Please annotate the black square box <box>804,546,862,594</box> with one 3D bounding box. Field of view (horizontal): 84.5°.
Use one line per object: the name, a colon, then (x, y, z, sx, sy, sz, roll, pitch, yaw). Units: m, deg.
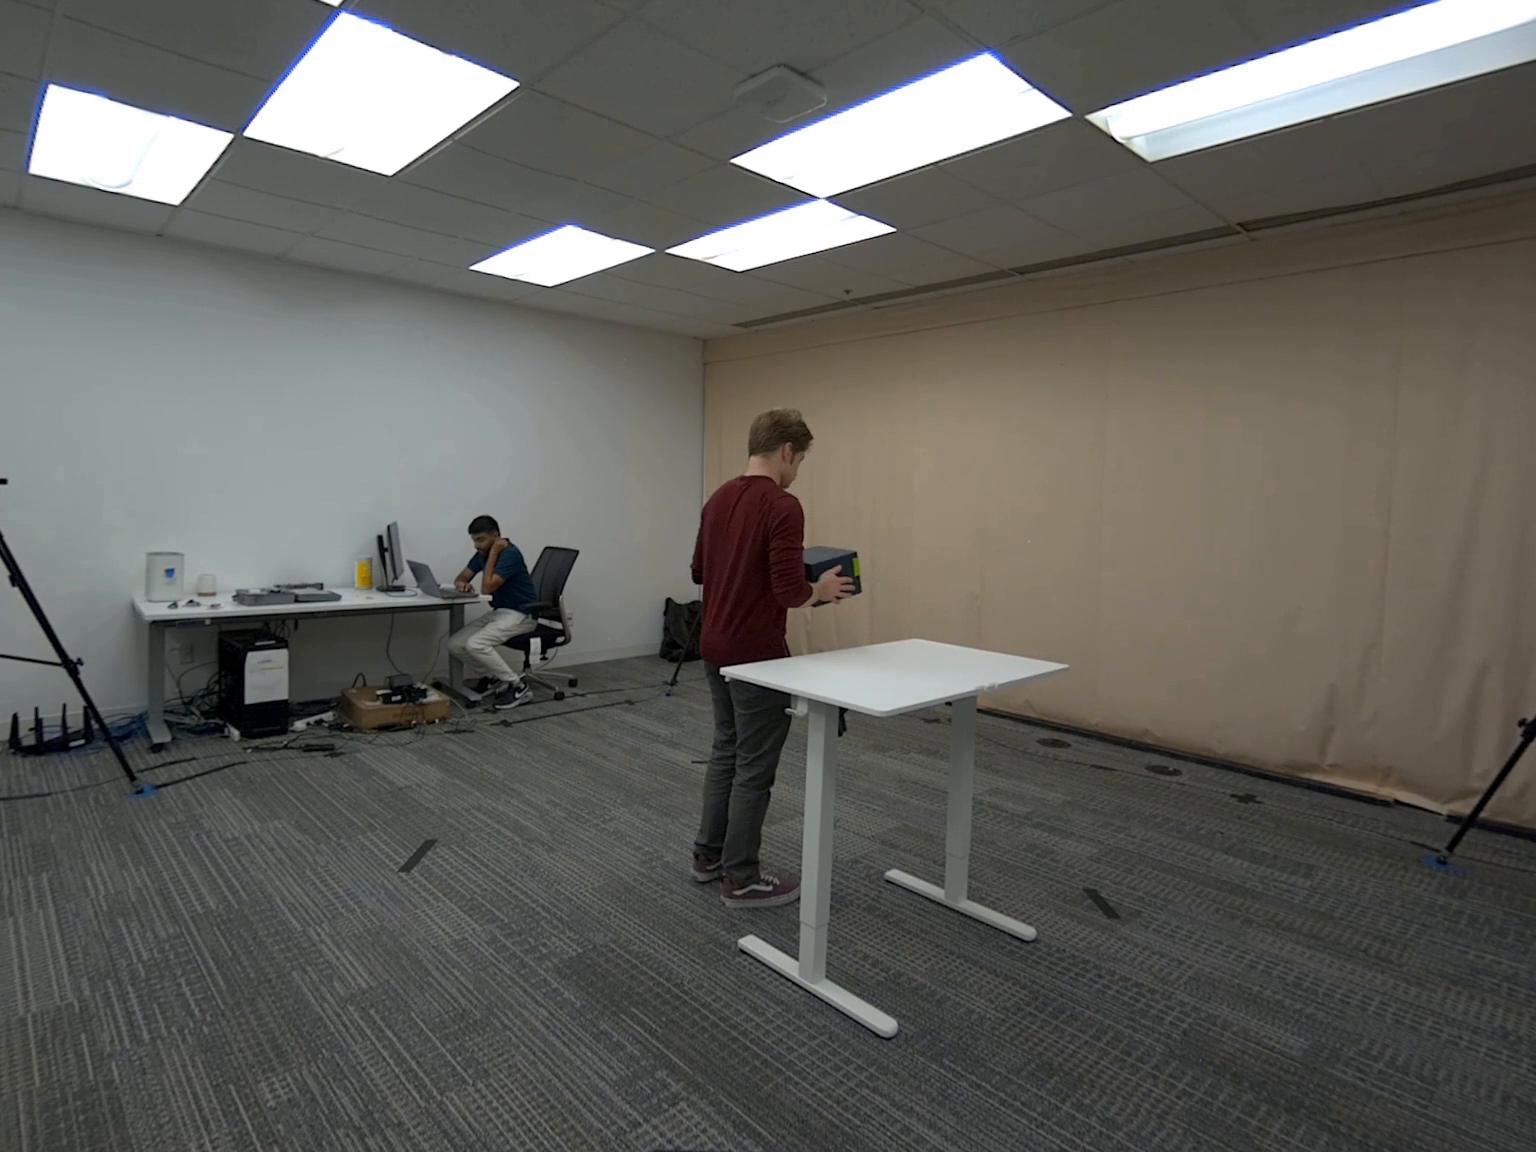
black square box: (0.169, -0.004, 3.031, 0.213, 0.154, 0.233, -14, 14, -31)
